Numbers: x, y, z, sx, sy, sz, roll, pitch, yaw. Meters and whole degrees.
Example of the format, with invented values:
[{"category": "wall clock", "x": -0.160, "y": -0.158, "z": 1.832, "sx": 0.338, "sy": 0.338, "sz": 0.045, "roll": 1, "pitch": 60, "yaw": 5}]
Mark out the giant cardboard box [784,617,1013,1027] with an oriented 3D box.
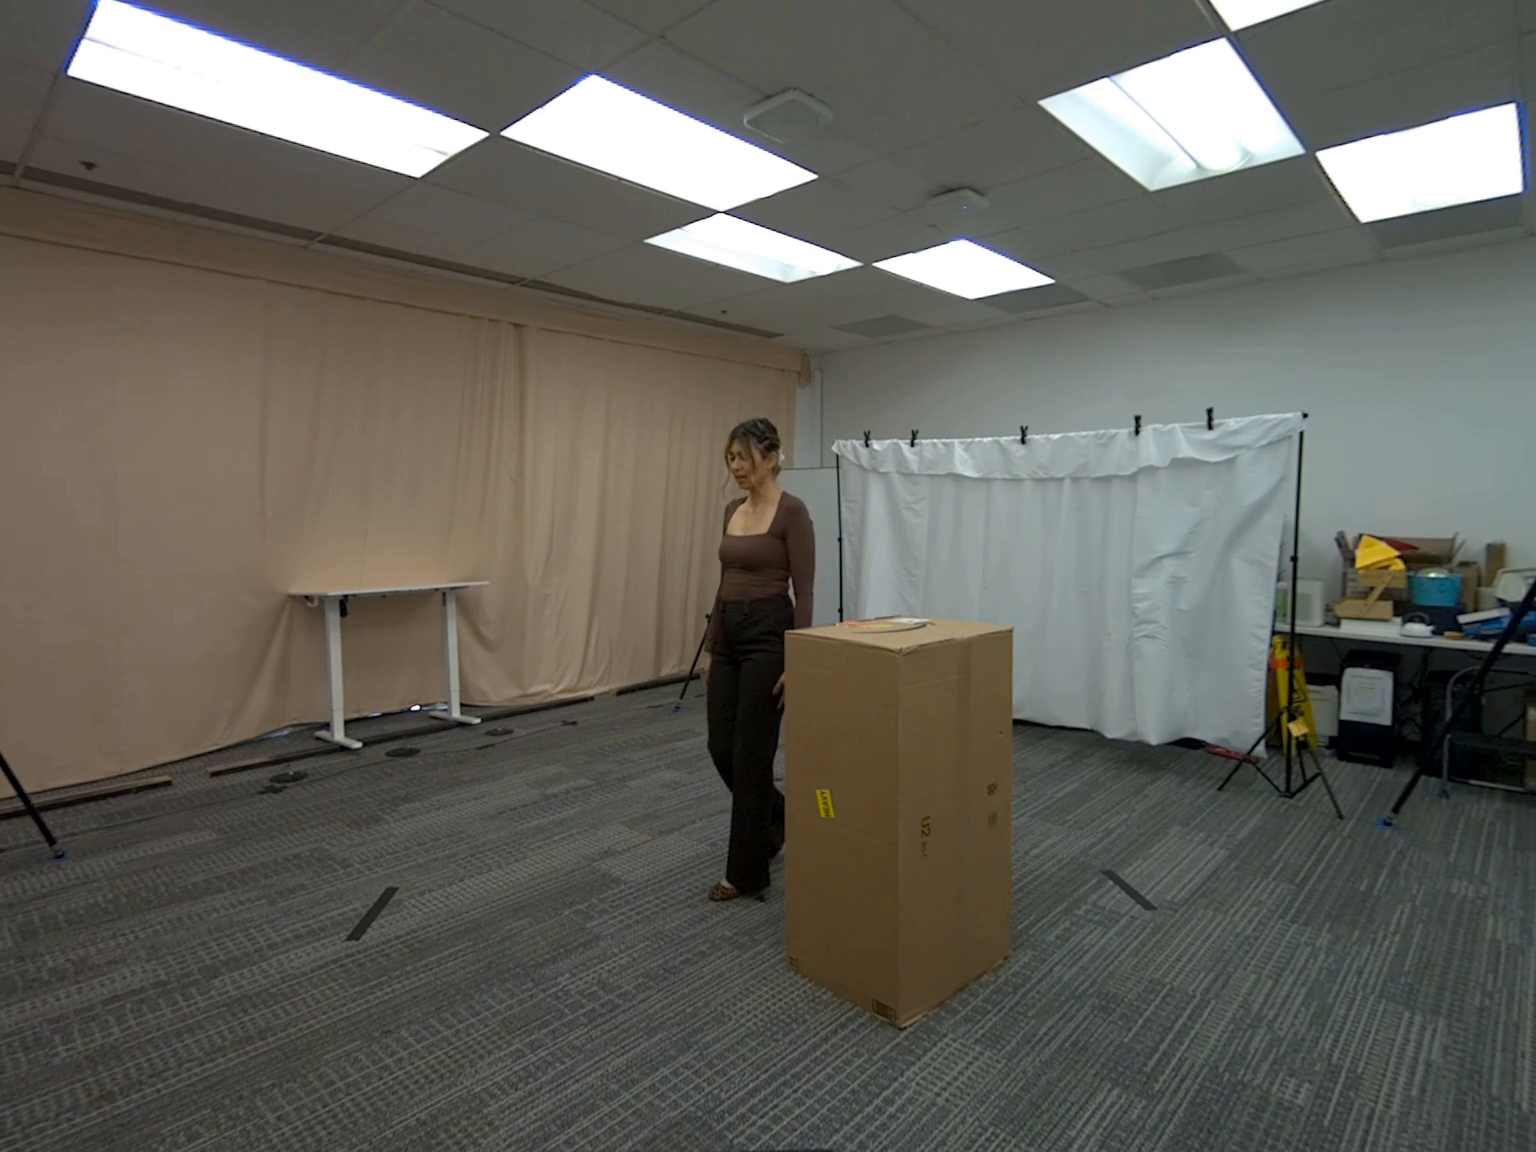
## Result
[{"category": "giant cardboard box", "x": 0.408, "y": 0.669, "z": 2.552, "sx": 0.566, "sy": 1.025, "sz": 0.461, "roll": -3, "pitch": 3, "yaw": -41}]
